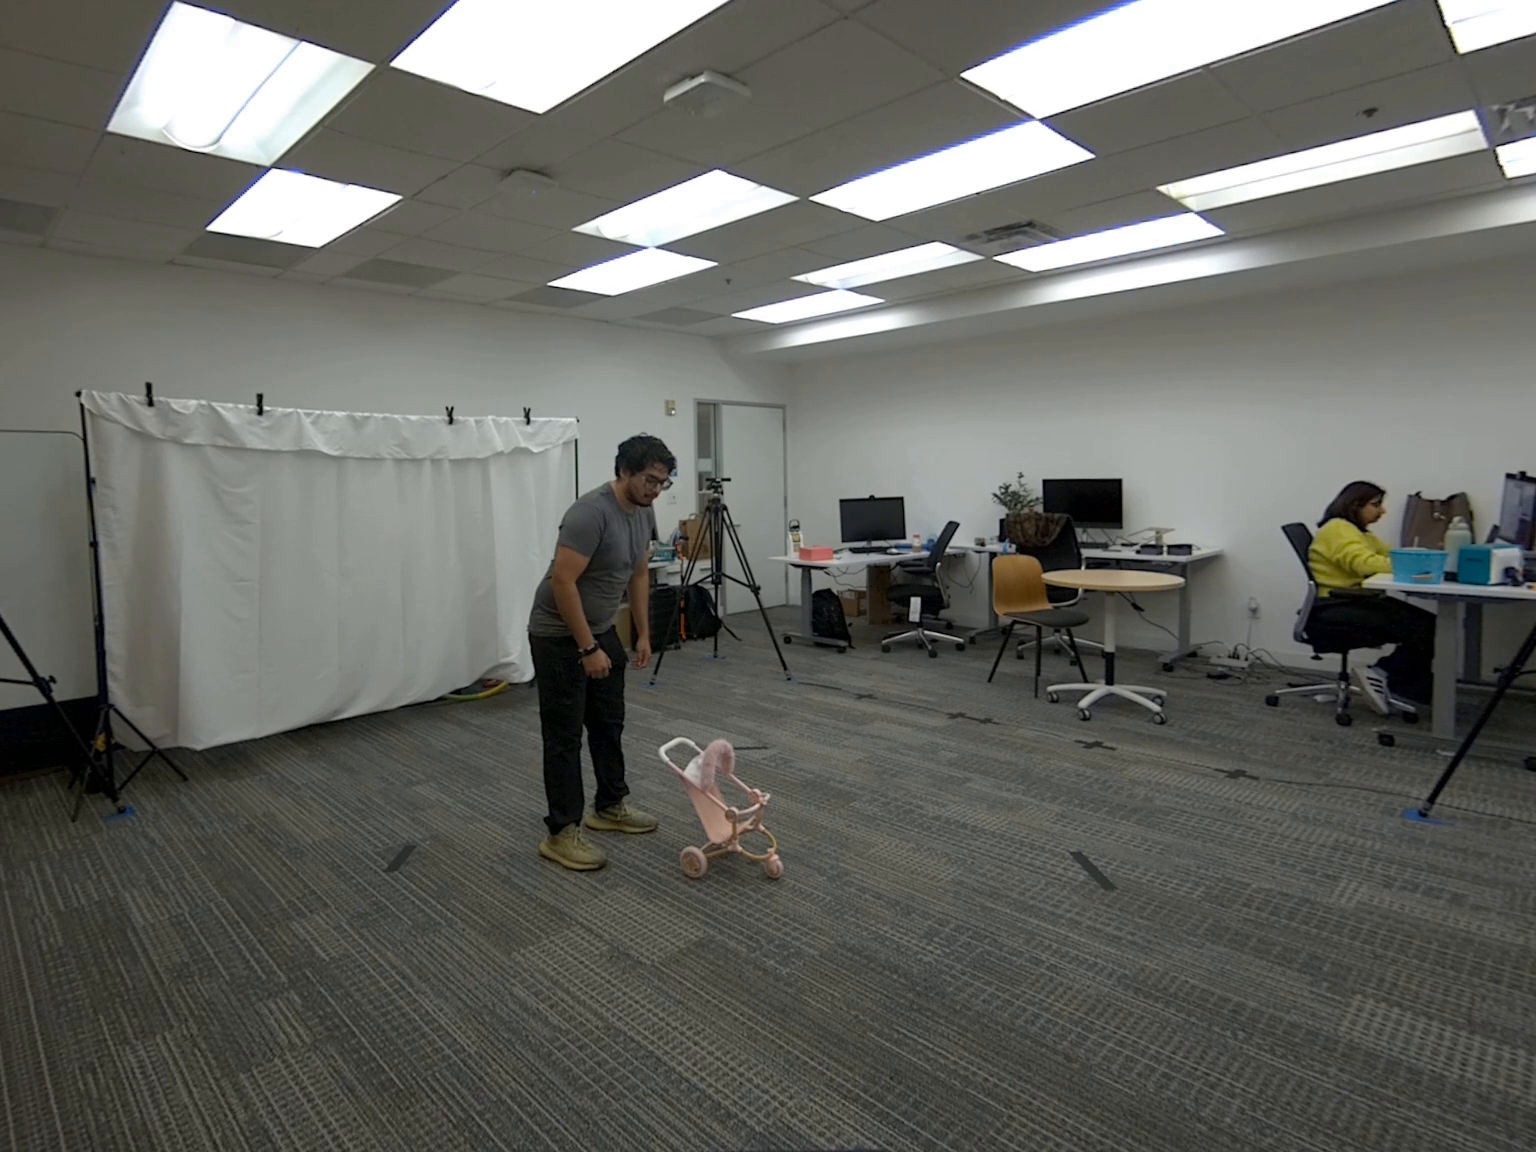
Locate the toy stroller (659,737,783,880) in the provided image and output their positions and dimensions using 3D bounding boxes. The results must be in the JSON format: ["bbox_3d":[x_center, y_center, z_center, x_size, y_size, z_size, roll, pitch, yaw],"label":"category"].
[{"bbox_3d":[-0.154,0.826,3.057,0.347,0.538,0.275,-18,-5,32],"label":"toy stroller"}]
